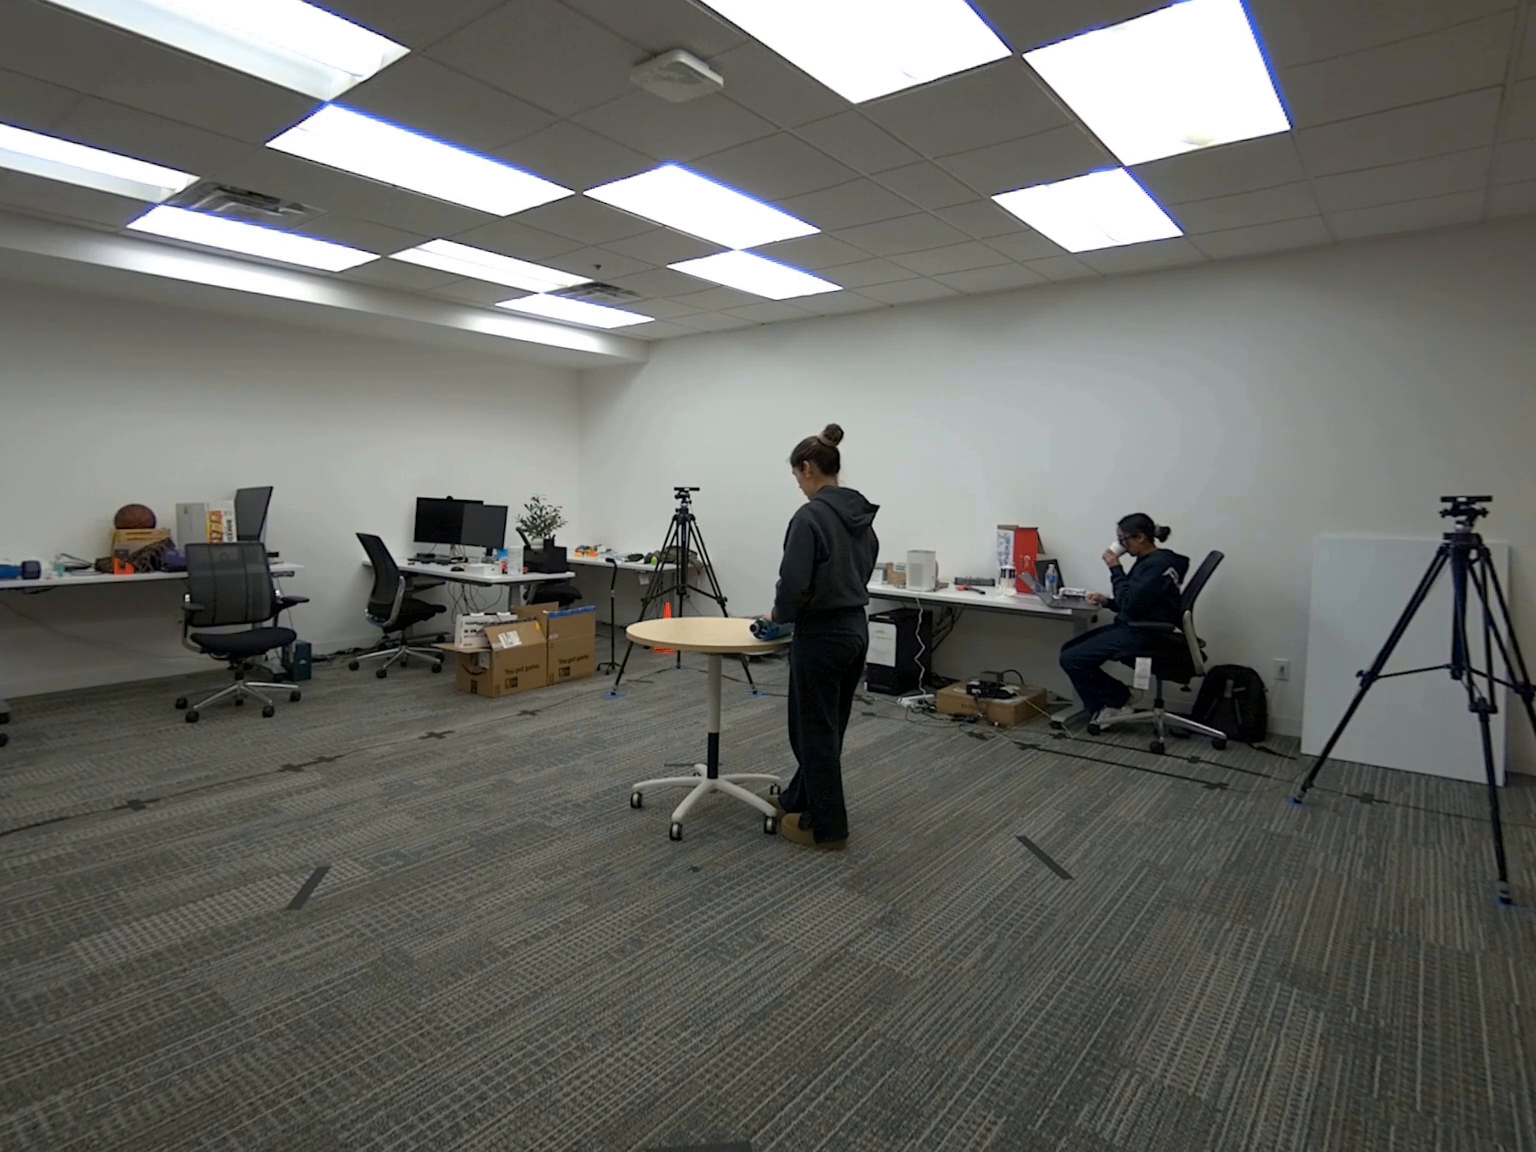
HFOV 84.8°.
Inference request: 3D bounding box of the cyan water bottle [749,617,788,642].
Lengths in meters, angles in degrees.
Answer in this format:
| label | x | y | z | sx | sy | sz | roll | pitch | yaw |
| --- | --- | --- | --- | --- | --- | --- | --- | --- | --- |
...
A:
| label | x | y | z | sx | sy | sz | roll | pitch | yaw |
| --- | --- | --- | --- | --- | --- | --- | --- | --- | --- |
| cyan water bottle | 0.017 | 0.203 | 3.509 | 0.095 | 0.092 | 0.276 | 3 | 5 | 31 |
